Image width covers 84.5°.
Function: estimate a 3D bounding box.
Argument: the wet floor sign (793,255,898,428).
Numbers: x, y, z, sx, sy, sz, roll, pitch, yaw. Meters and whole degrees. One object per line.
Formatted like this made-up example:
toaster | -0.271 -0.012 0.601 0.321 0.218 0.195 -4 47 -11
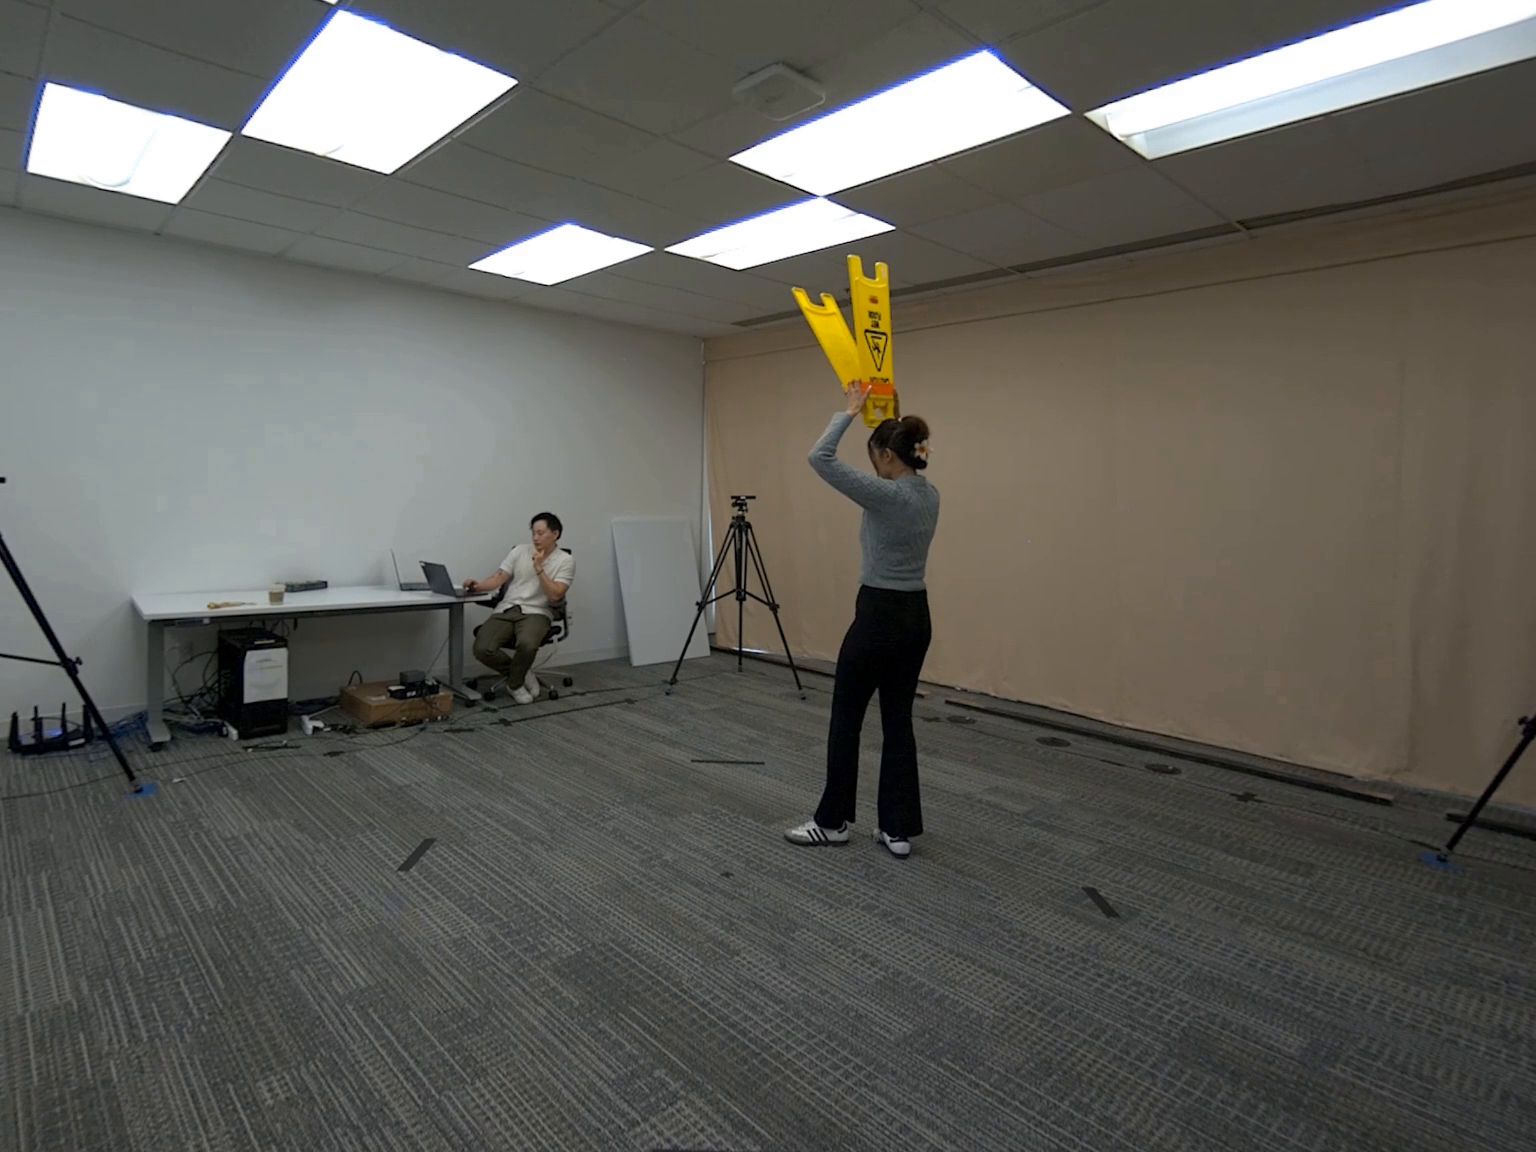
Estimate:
wet floor sign | 0.364 -0.904 3.389 0.294 0.649 0.277 -20 -7 41
